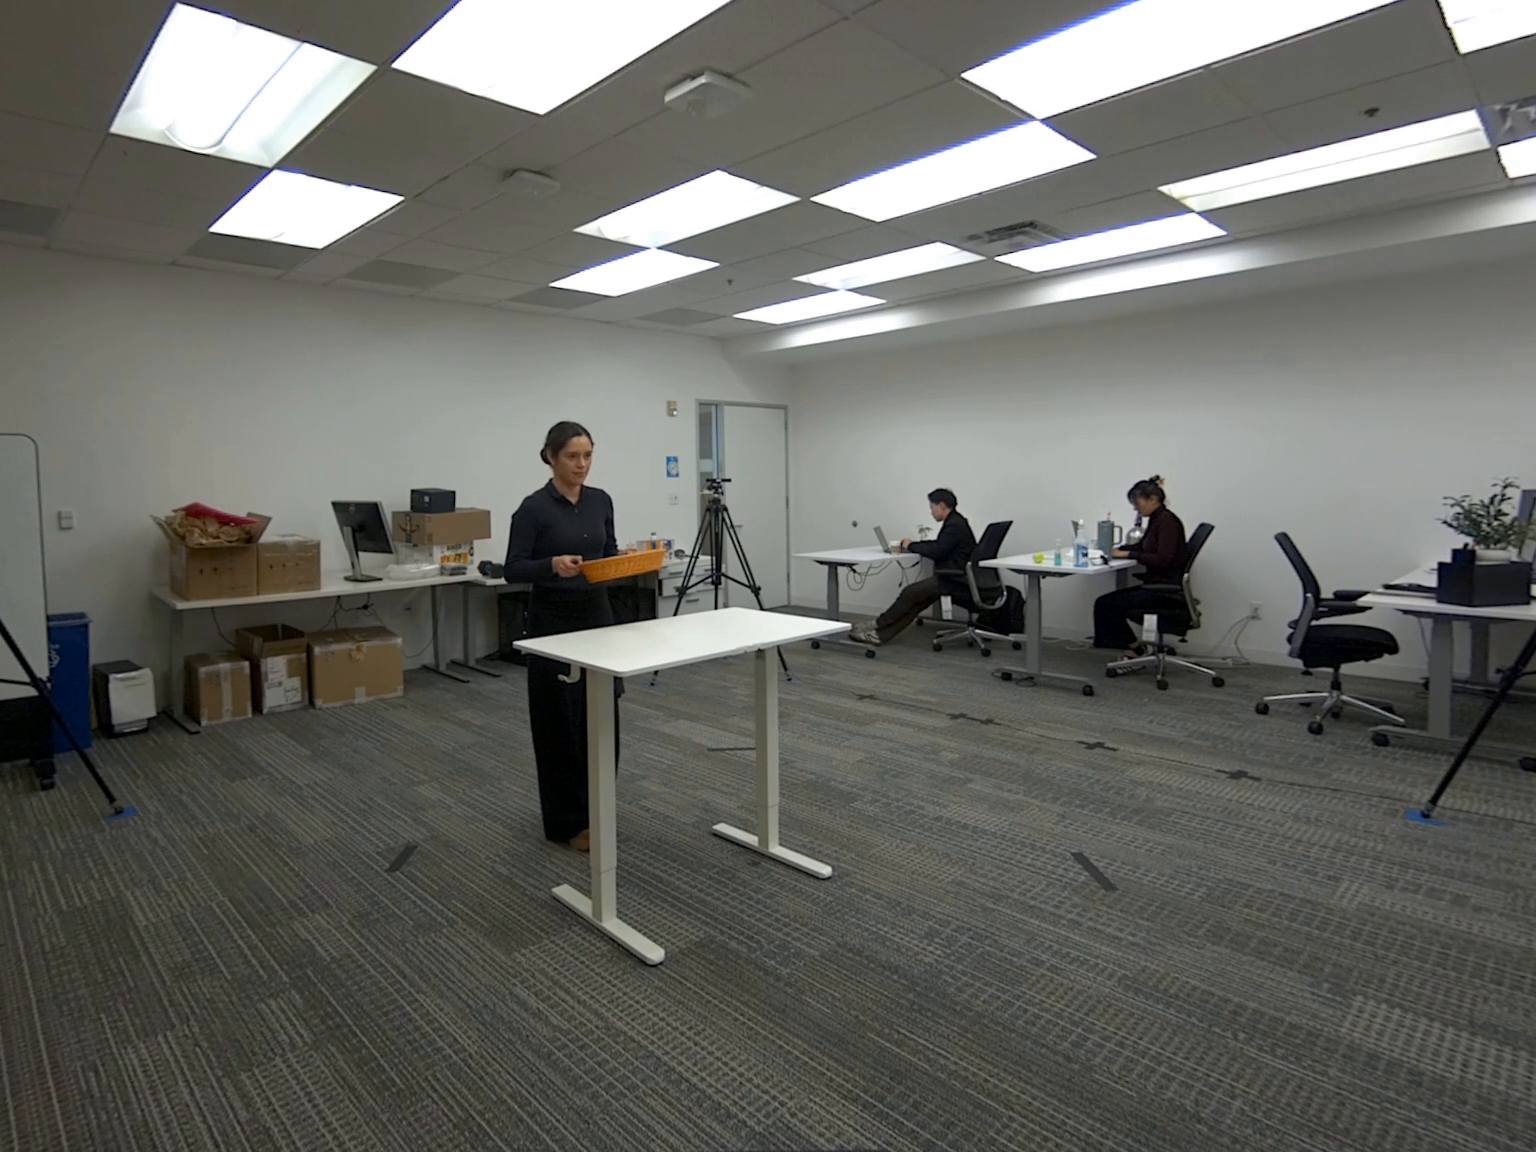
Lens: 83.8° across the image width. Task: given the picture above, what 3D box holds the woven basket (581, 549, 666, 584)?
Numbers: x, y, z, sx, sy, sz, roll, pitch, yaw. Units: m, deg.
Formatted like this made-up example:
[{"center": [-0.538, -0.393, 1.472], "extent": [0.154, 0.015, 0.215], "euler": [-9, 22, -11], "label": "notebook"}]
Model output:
[{"center": [-0.544, -0.033, 3.091], "extent": [0.342, 0.073, 0.258], "euler": [-11, 3, -35], "label": "woven basket"}]
